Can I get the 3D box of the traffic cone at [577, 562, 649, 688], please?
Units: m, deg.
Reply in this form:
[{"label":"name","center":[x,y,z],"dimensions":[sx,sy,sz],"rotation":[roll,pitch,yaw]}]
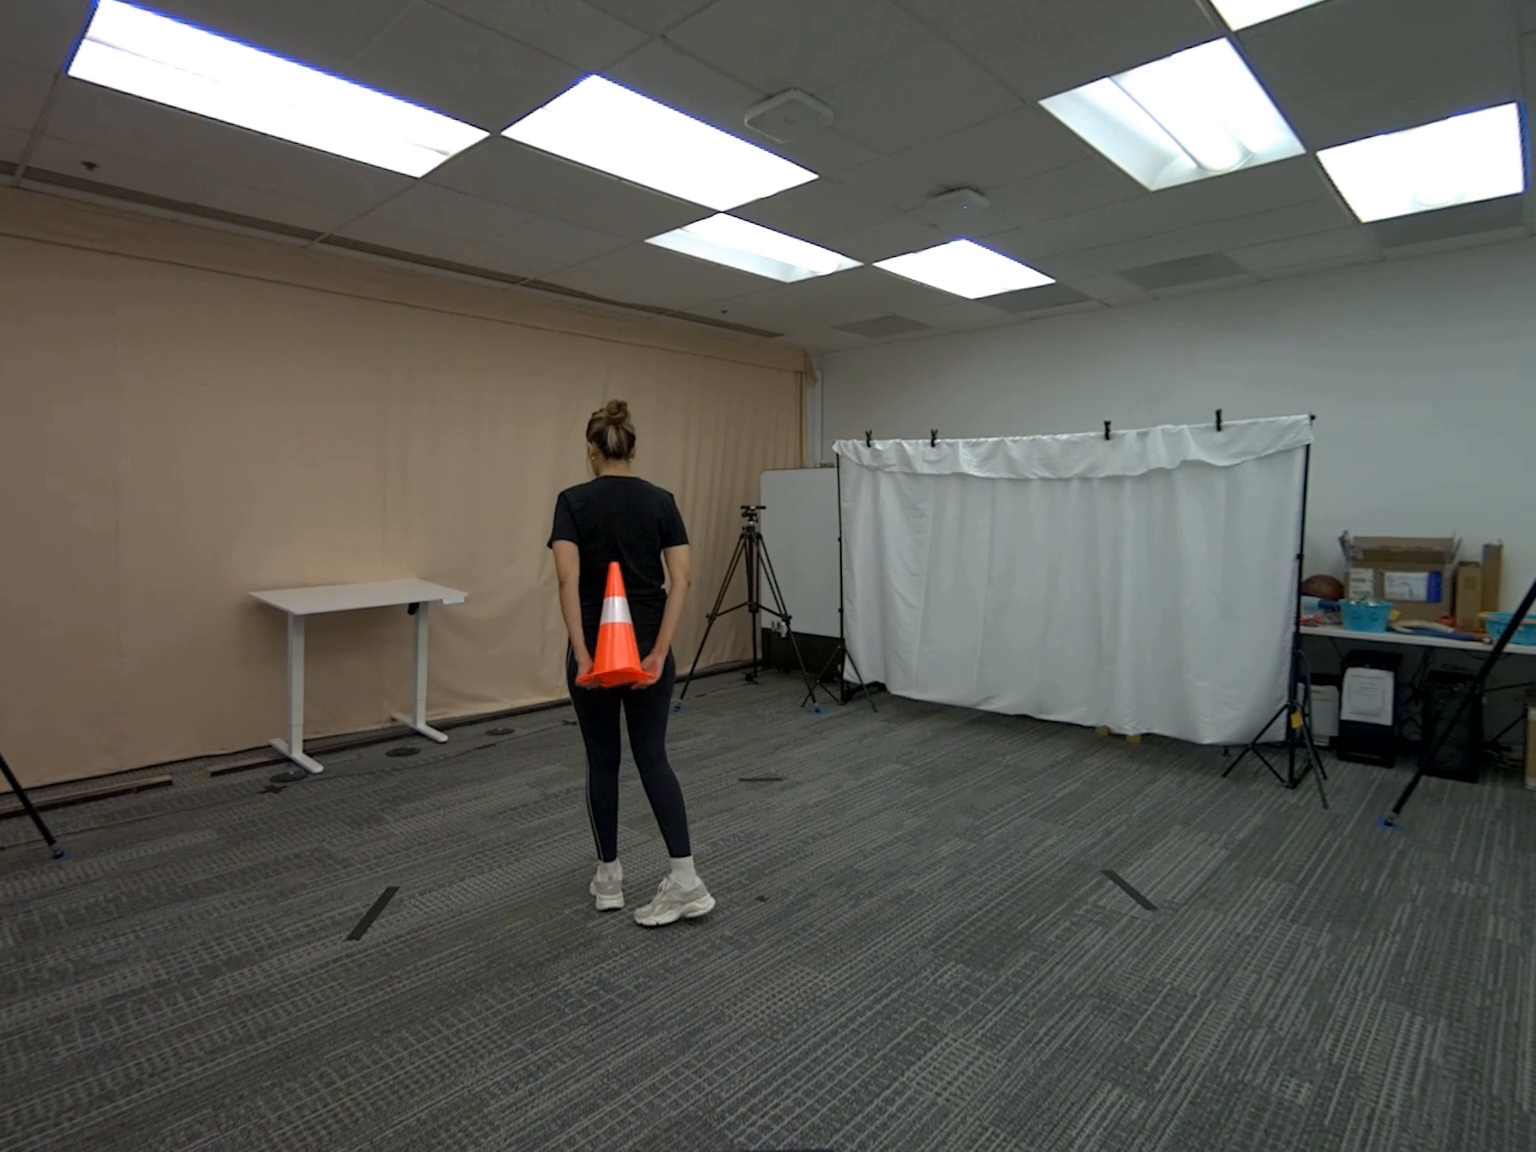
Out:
[{"label":"traffic cone","center":[-0.499,0.141,2.708],"dimensions":[0.207,0.389,0.198],"rotation":[-13,-20,20]}]
